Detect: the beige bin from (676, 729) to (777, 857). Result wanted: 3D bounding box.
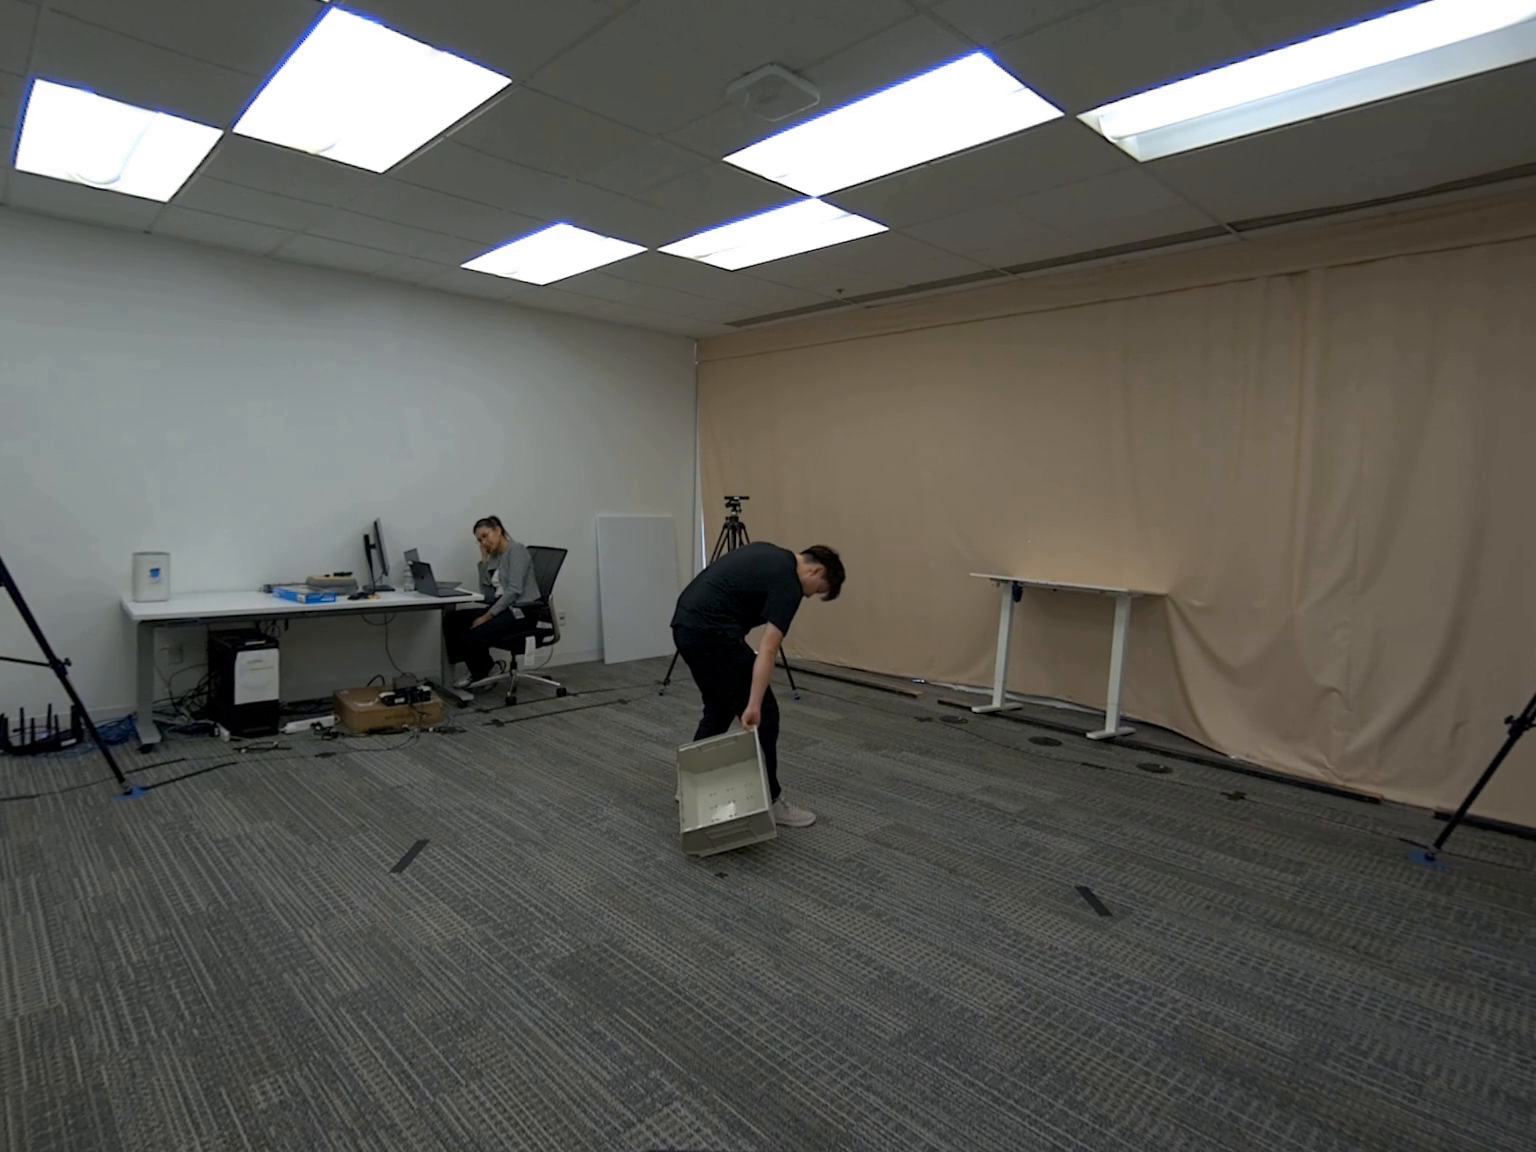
[{"bbox_3d":[-0.197,0.864,3.358,0.378,0.184,0.432,-15,35,3],"label":"beige bin"}]
